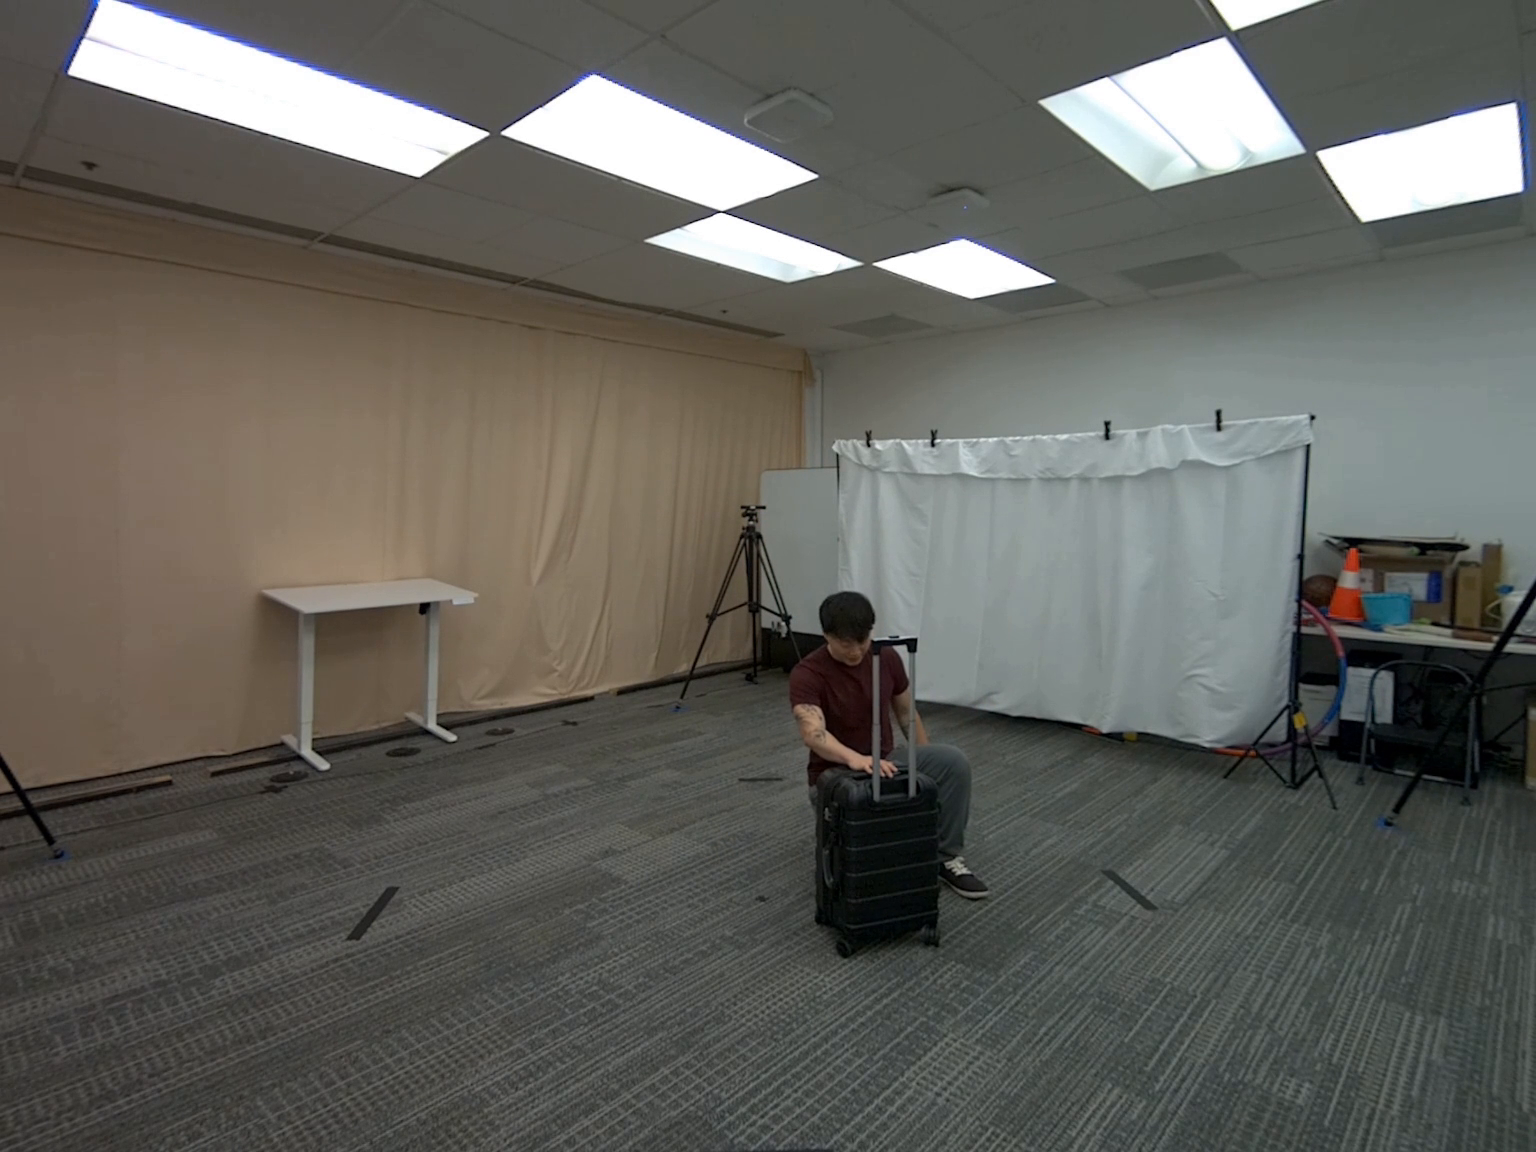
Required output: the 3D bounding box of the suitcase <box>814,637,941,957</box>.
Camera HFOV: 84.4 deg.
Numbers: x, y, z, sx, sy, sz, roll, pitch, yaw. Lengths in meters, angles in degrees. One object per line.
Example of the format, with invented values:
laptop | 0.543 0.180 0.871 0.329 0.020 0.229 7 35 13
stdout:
suitcase | 0.349 0.682 2.719 0.377 0.977 0.262 0 2 -17
